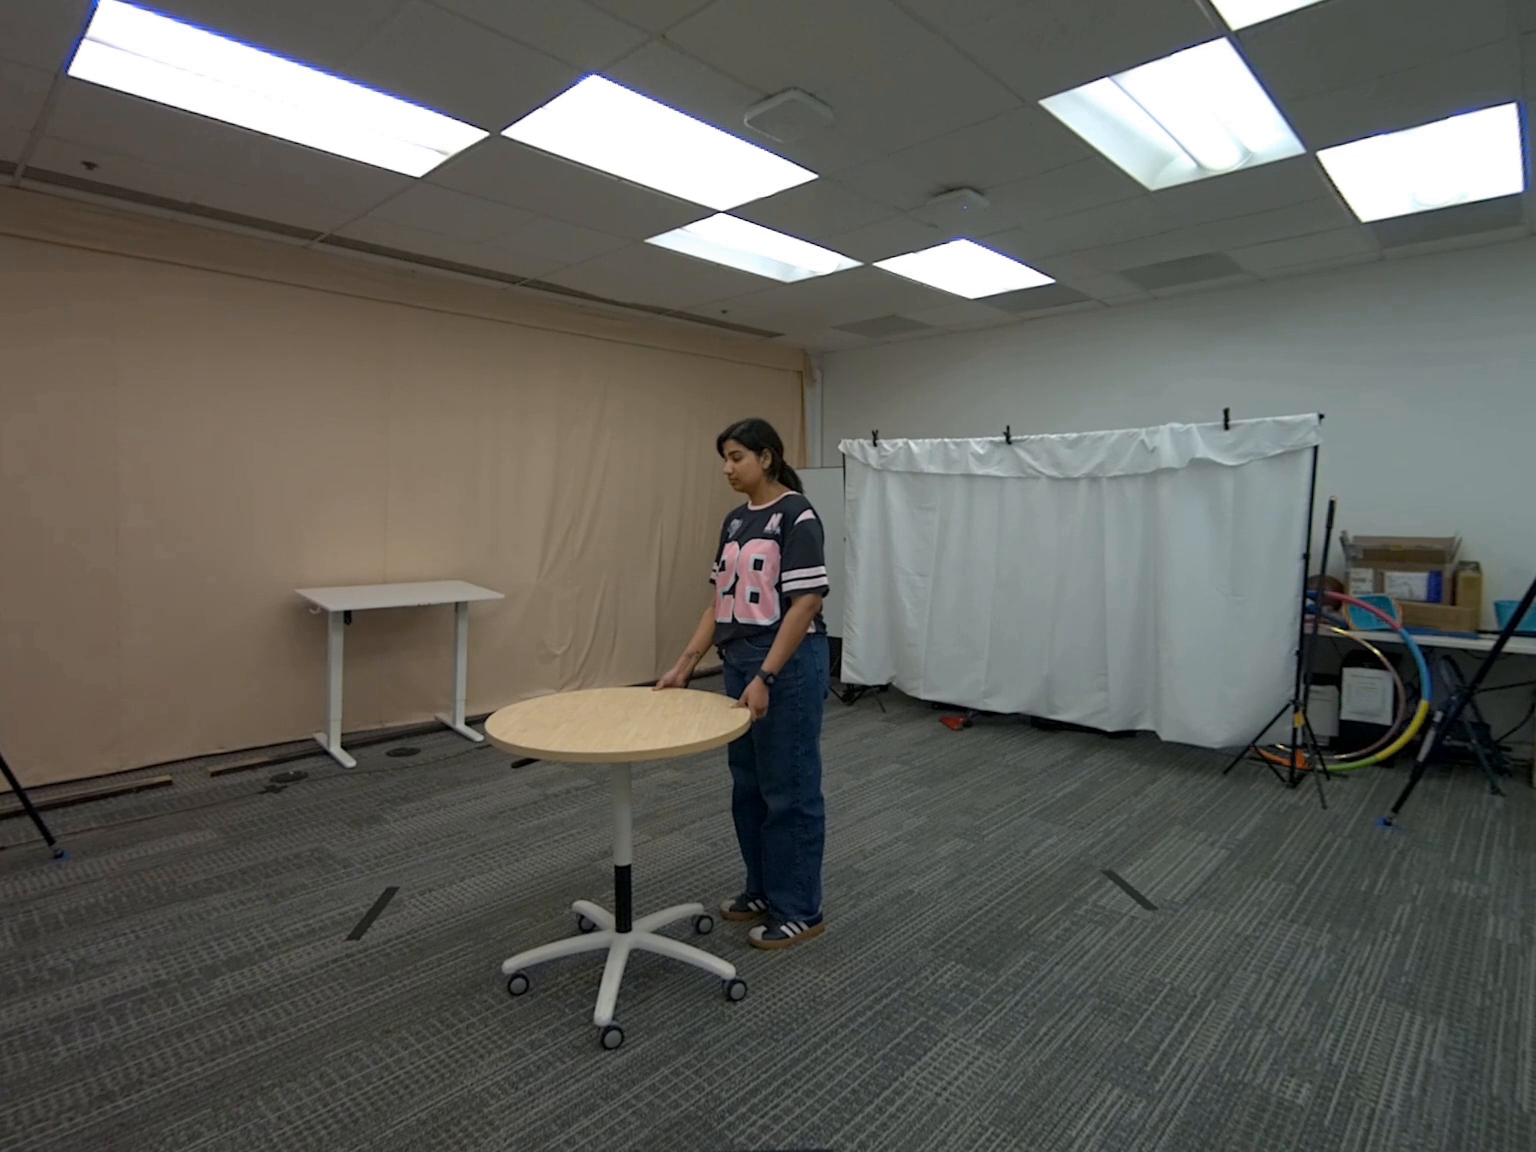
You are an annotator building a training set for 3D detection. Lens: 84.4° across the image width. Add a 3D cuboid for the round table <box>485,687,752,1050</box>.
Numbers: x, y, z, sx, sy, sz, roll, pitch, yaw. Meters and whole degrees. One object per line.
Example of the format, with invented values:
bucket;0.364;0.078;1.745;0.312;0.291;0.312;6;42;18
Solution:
round table;-0.413;0.795;2.485;0.784;0.785;0.788;-1;4;-2
